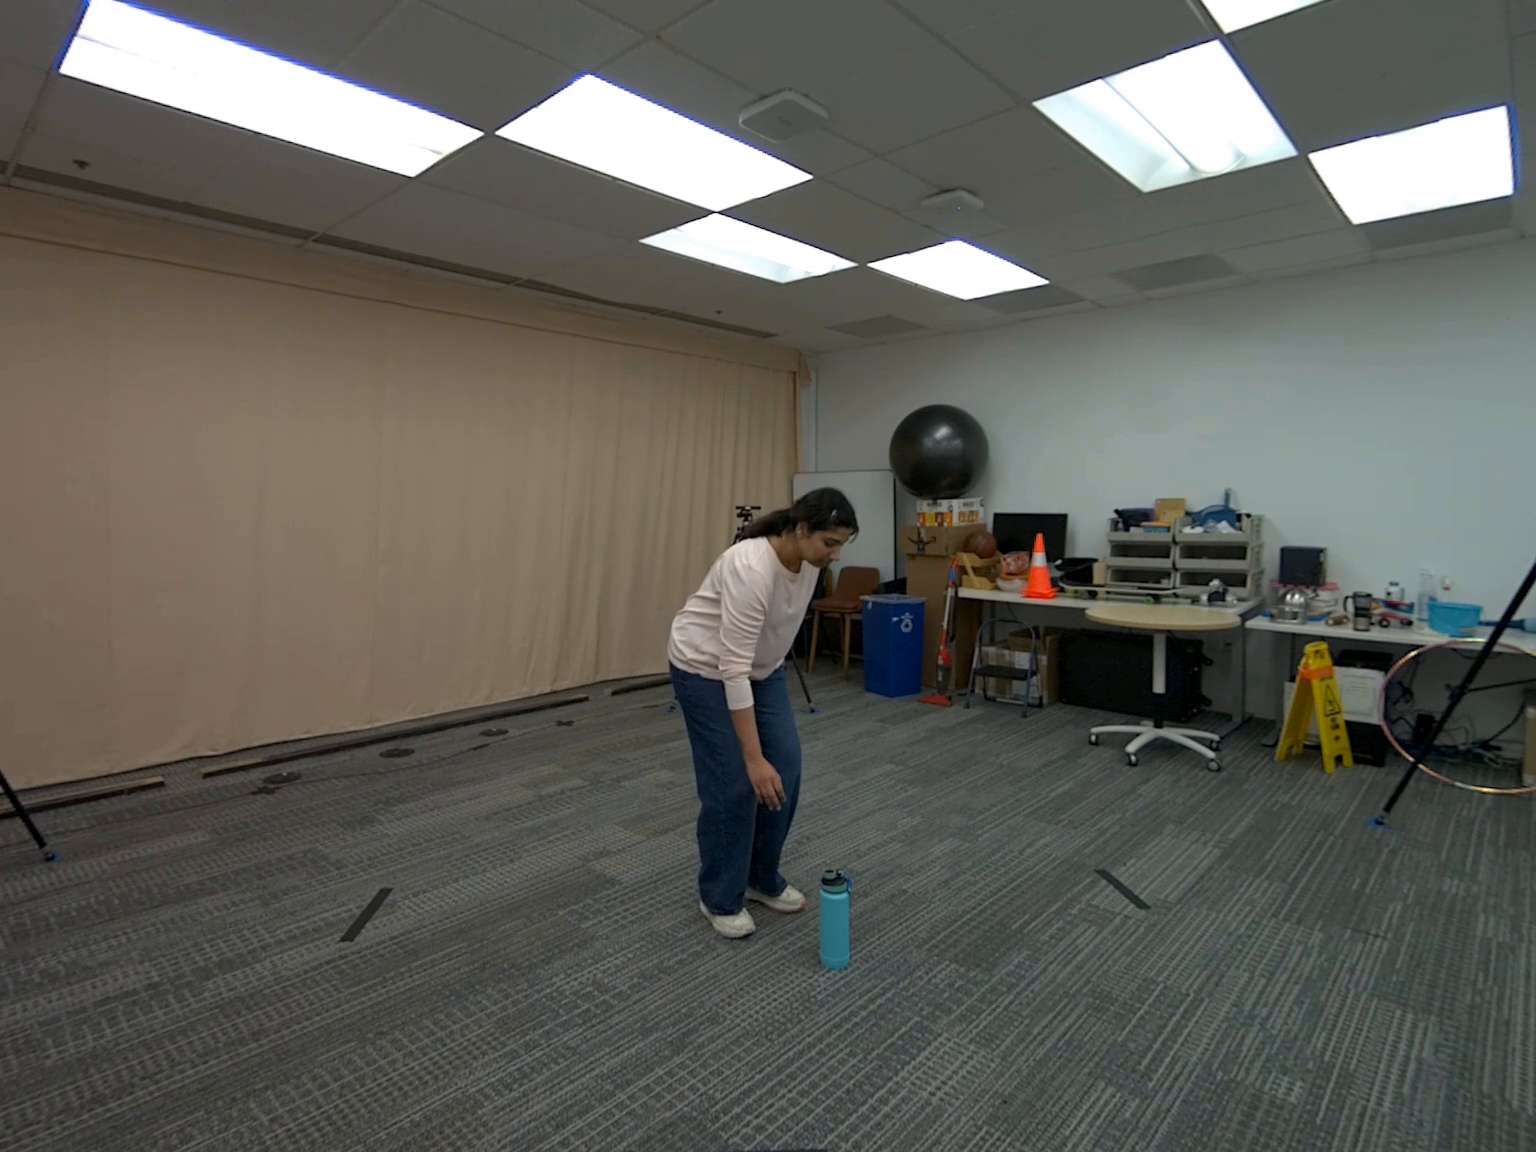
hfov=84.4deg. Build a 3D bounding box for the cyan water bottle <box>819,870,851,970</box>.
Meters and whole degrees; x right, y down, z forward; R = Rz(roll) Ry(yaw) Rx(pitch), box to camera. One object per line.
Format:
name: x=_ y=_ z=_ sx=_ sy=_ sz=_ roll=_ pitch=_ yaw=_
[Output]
cyan water bottle: x=0.211 y=1.038 z=2.563 sx=0.092 sy=0.283 sz=0.092 roll=2 pitch=1 yaw=-2
